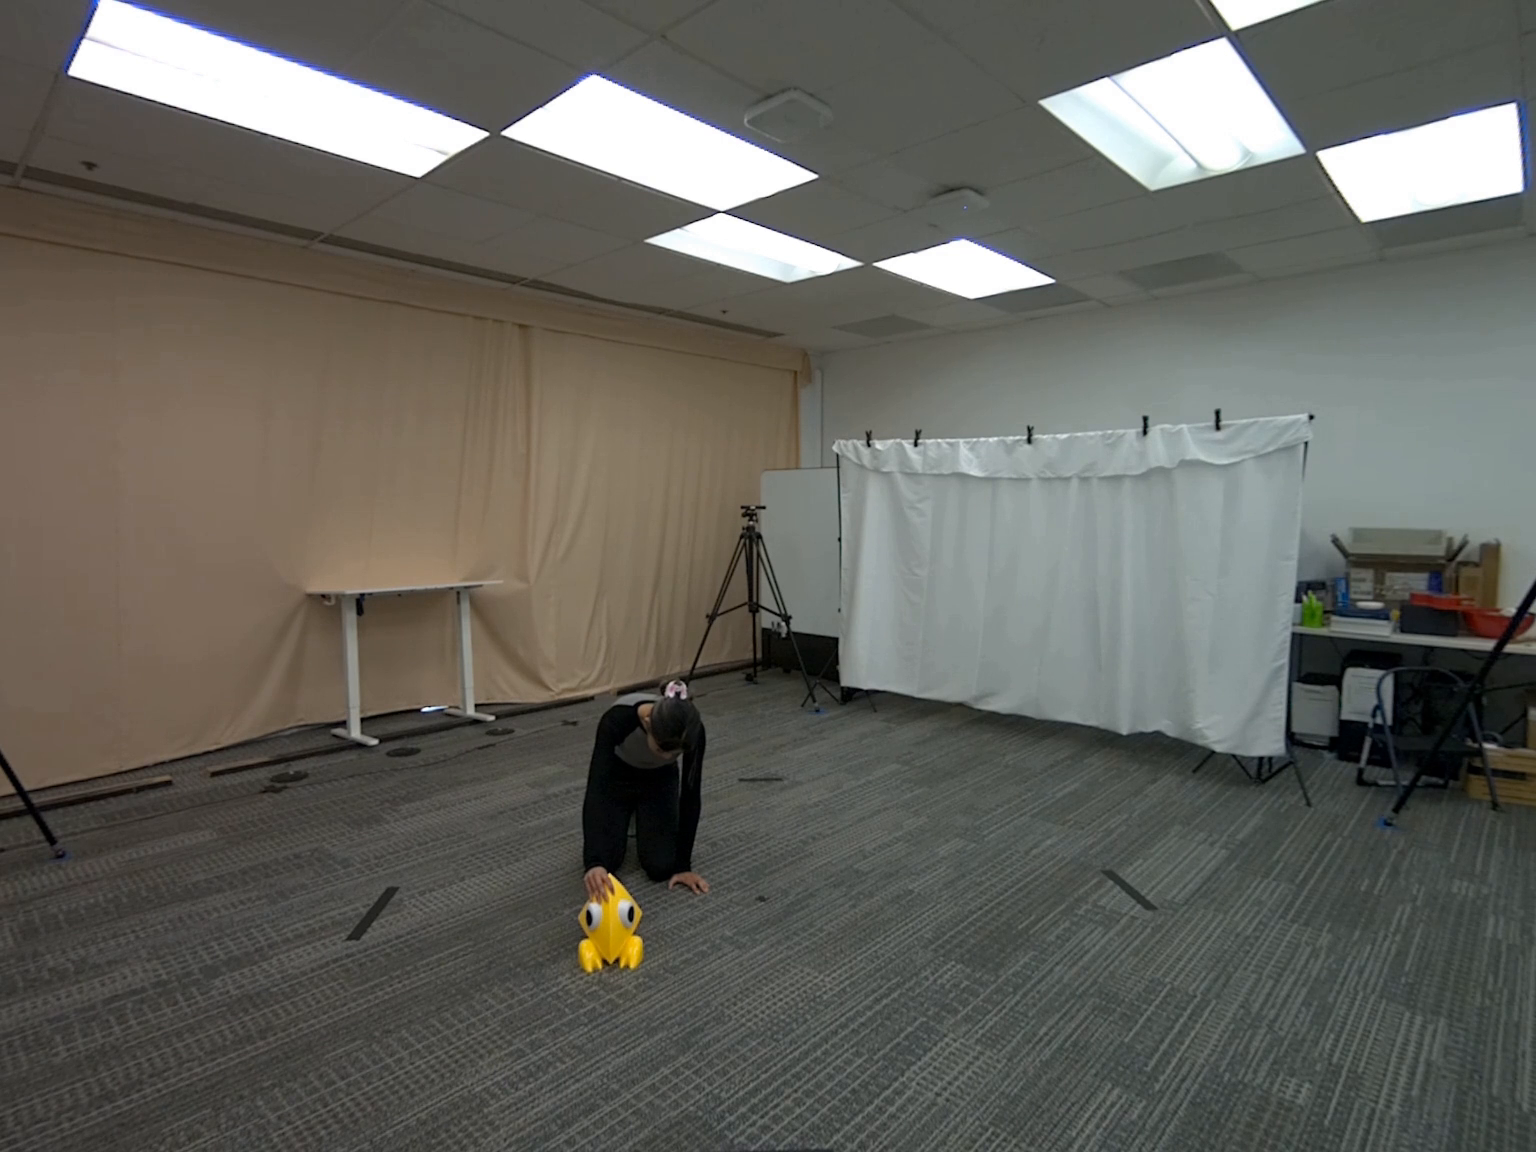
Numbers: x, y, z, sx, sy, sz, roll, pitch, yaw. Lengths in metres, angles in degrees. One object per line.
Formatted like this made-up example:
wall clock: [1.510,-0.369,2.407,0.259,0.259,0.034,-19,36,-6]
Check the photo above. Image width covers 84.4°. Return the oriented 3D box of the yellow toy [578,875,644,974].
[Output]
yellow toy: [-0.485,1.058,2.610,0.203,0.230,0.195,0,3,-8]
